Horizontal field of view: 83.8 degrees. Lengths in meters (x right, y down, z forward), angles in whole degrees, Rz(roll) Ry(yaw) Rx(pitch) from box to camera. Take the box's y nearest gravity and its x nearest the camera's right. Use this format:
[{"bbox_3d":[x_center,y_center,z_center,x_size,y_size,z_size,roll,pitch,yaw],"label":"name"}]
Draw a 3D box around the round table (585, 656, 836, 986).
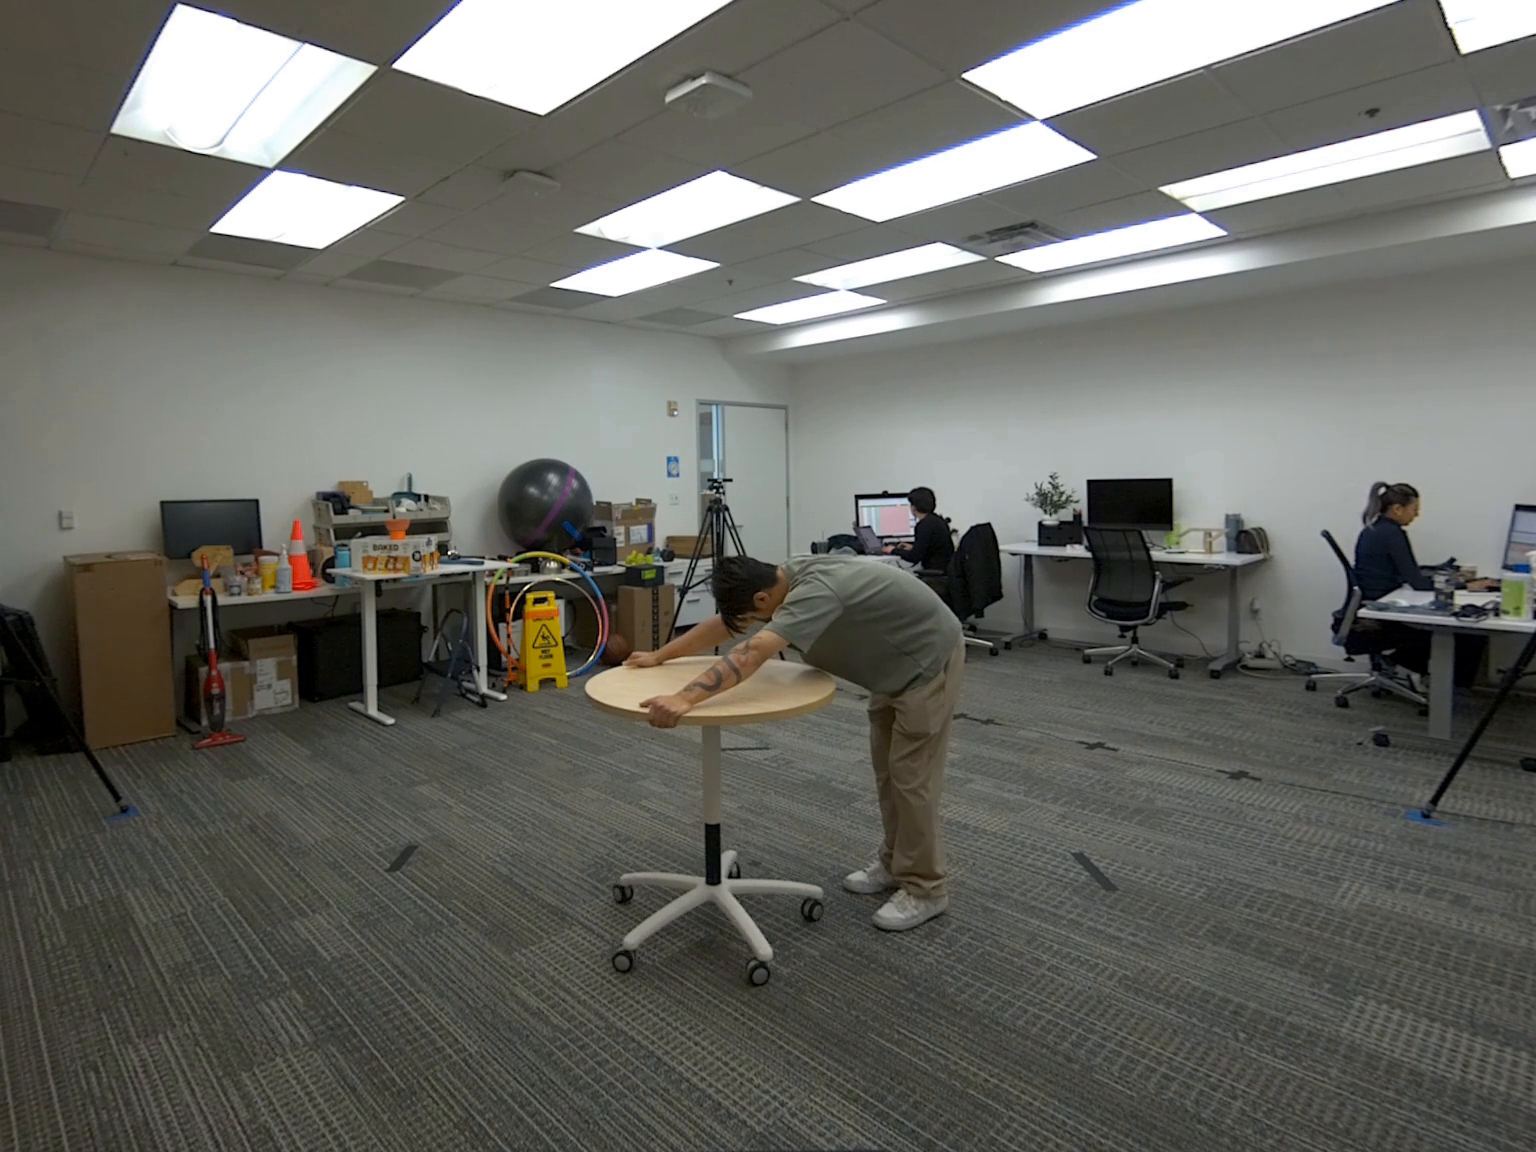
[{"bbox_3d":[-0.170,0.713,2.637,0.784,0.784,0.789,-1,4,-2],"label":"round table"}]
